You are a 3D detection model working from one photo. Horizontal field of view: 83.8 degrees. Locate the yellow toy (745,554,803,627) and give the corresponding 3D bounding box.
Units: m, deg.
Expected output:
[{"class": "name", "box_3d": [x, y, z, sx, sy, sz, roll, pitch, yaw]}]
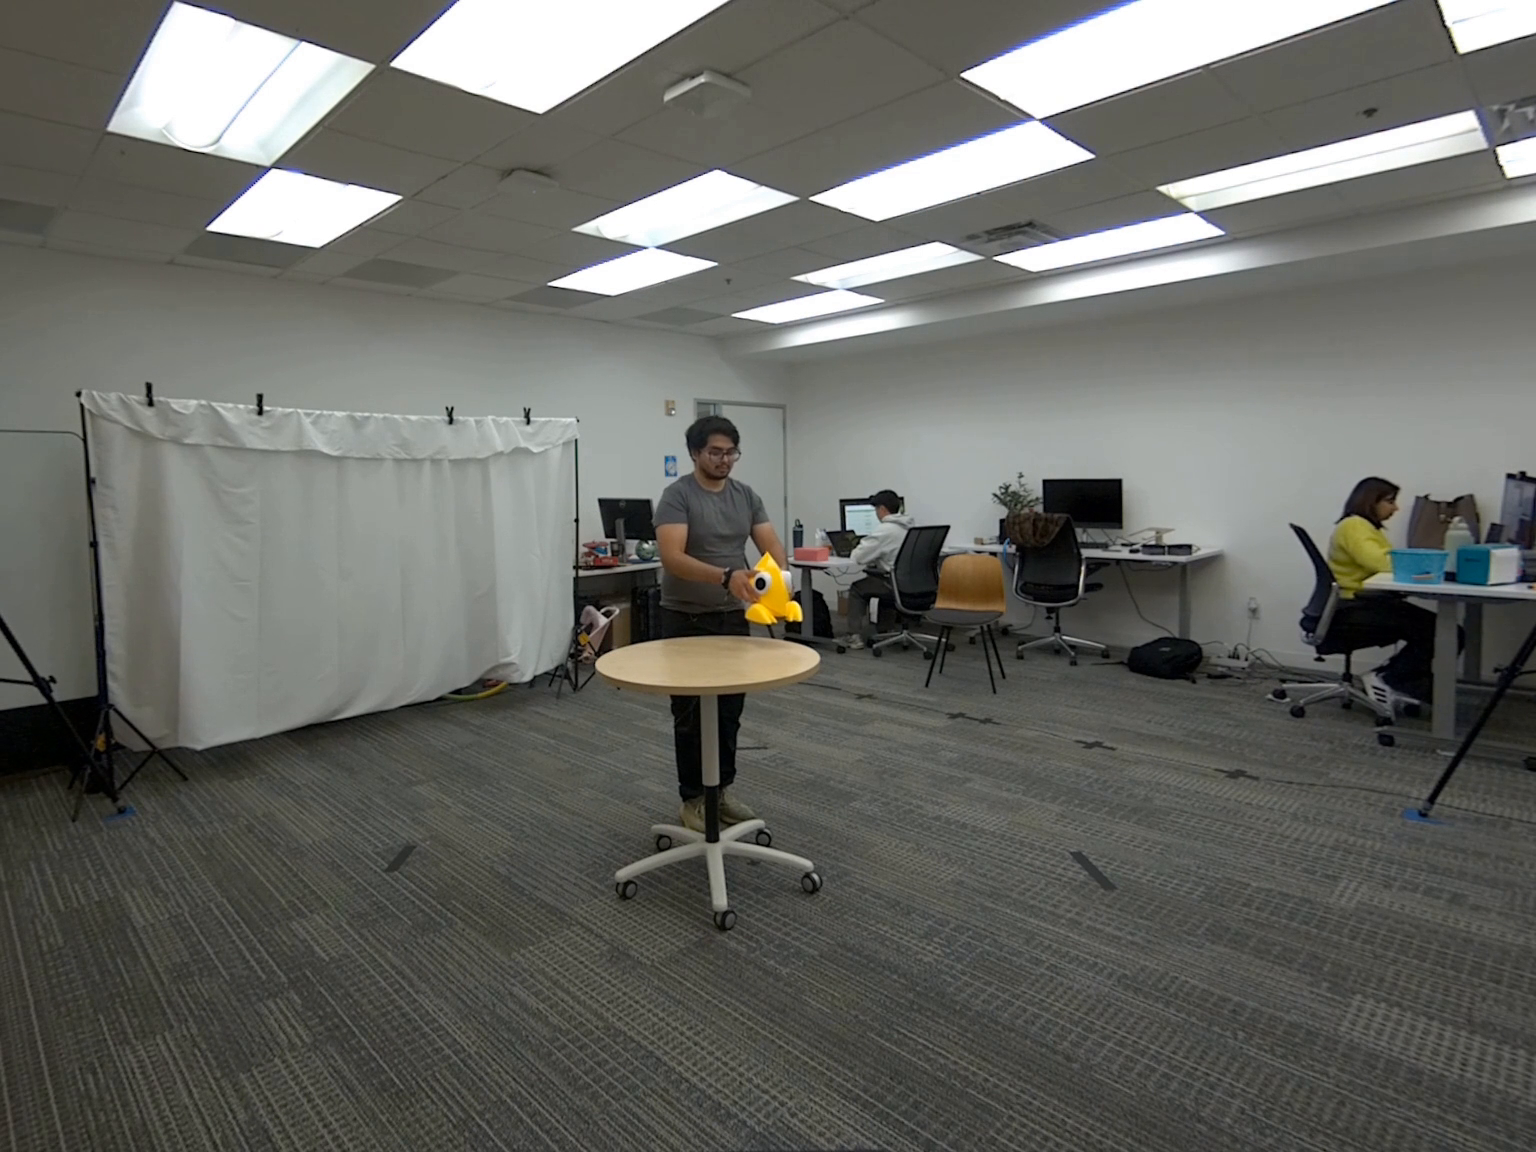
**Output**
[{"class": "yellow toy", "box_3d": [0.024, 0.037, 3.089, 0.200, 0.229, 0.199, -1, 9, -28]}]
